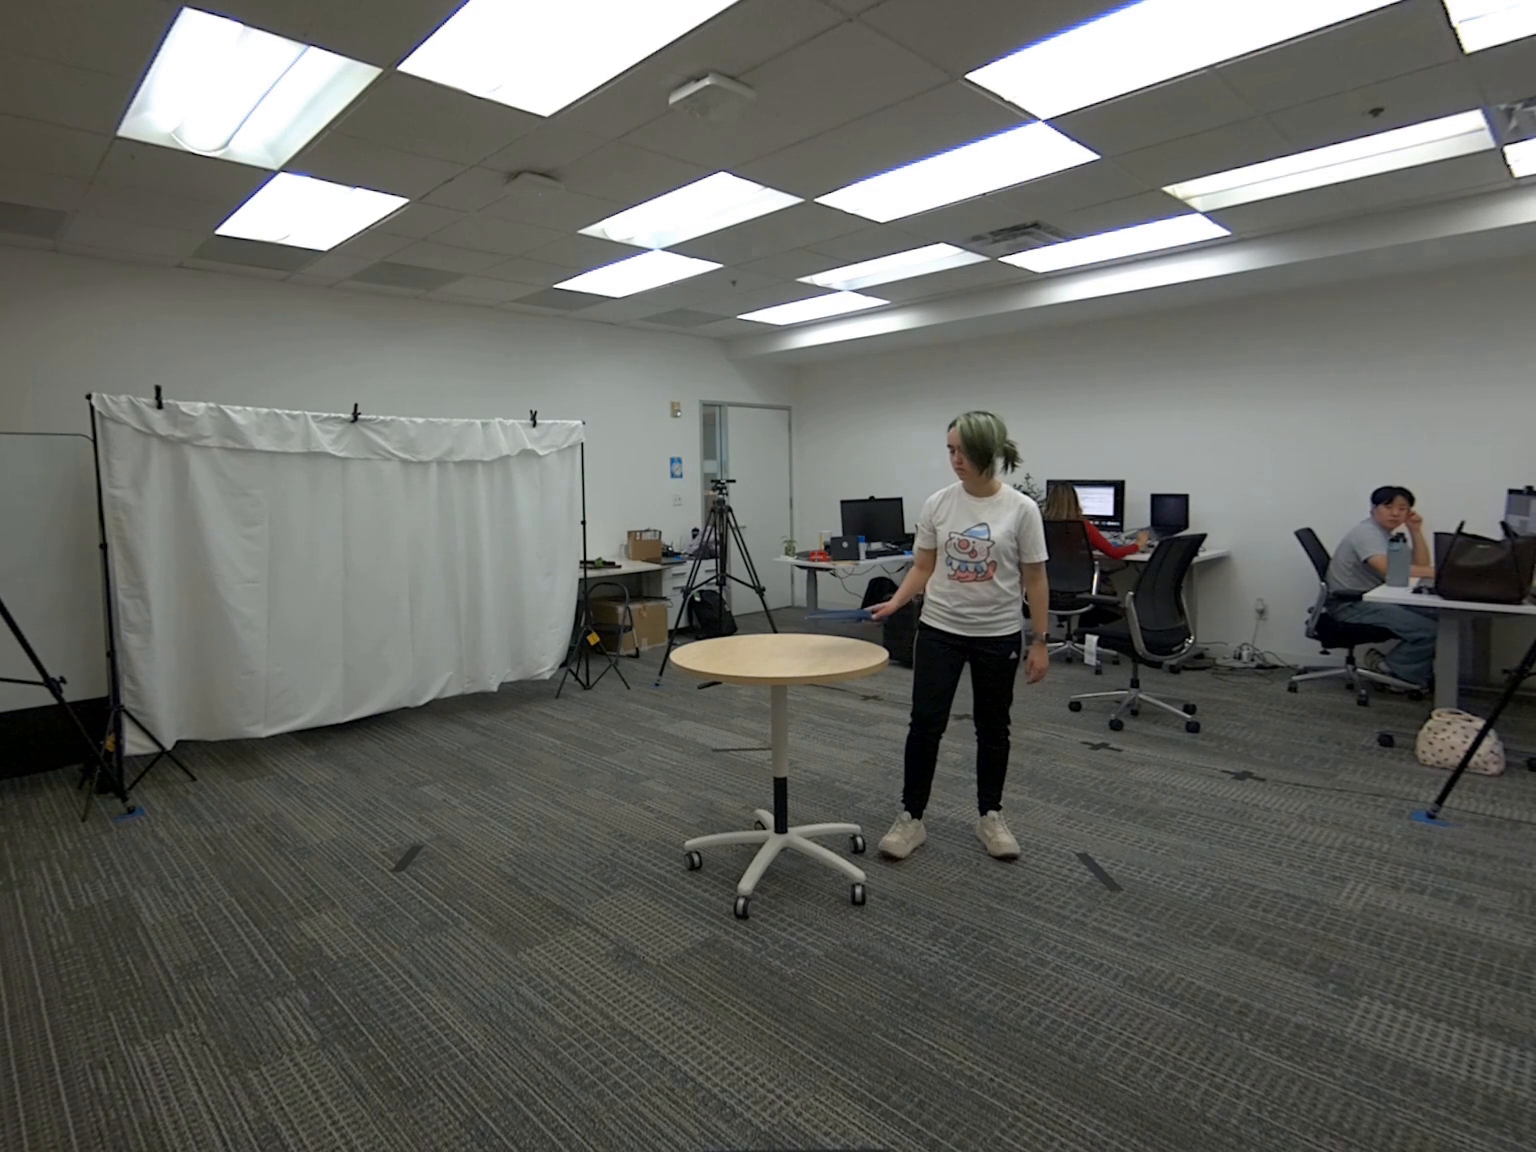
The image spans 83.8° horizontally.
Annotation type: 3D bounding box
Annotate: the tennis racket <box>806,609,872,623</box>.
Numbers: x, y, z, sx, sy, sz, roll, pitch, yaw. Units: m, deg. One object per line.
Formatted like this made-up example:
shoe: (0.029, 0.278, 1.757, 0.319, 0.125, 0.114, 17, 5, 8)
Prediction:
tennis racket: (0.294, 0.144, 3.066, 0.219, 0.032, 0.419, -10, -9, 44)
